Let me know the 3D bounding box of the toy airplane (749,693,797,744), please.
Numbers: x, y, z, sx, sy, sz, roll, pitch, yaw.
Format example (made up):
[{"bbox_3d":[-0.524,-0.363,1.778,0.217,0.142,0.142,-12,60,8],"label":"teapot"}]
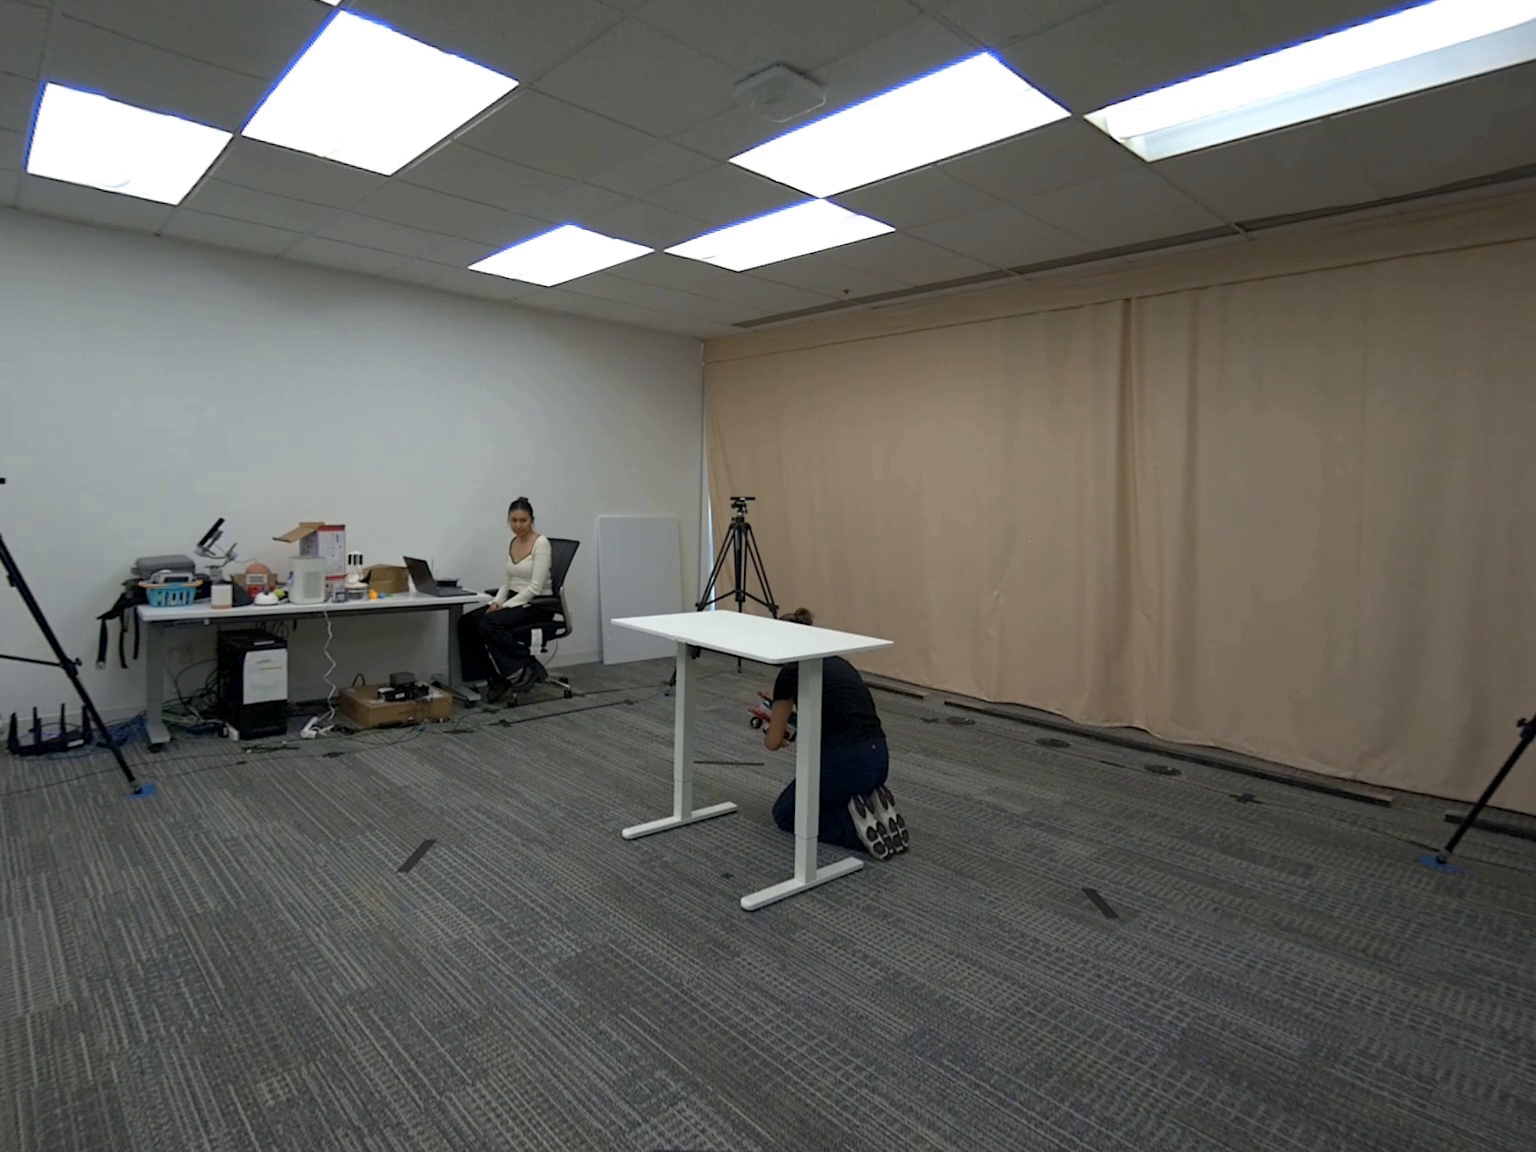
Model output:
[{"bbox_3d":[0.049,0.618,3.621,0.266,0.157,0.243,15,-18,29],"label":"toy airplane"}]
